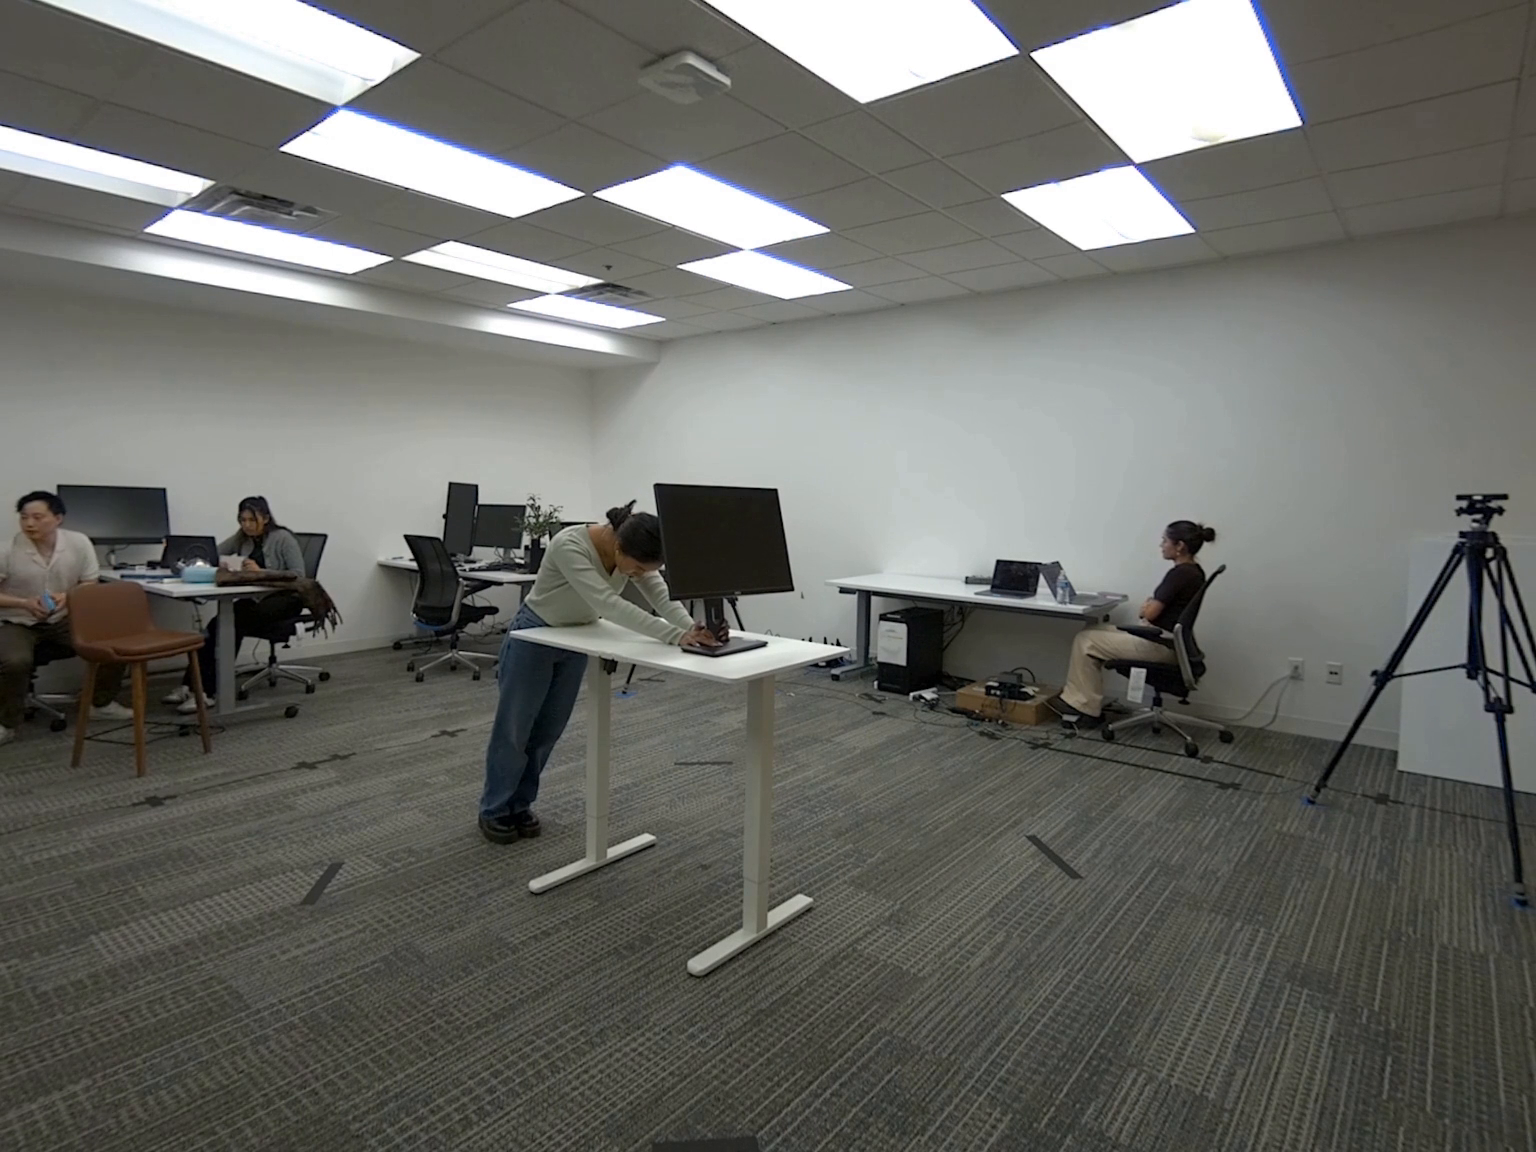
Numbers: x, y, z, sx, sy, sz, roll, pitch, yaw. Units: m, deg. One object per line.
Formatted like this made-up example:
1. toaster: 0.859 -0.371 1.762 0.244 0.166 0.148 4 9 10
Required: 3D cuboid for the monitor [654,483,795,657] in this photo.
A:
1. monitor: -0.154 -0.026 2.690 0.193 0.522 0.522 0 2 42
